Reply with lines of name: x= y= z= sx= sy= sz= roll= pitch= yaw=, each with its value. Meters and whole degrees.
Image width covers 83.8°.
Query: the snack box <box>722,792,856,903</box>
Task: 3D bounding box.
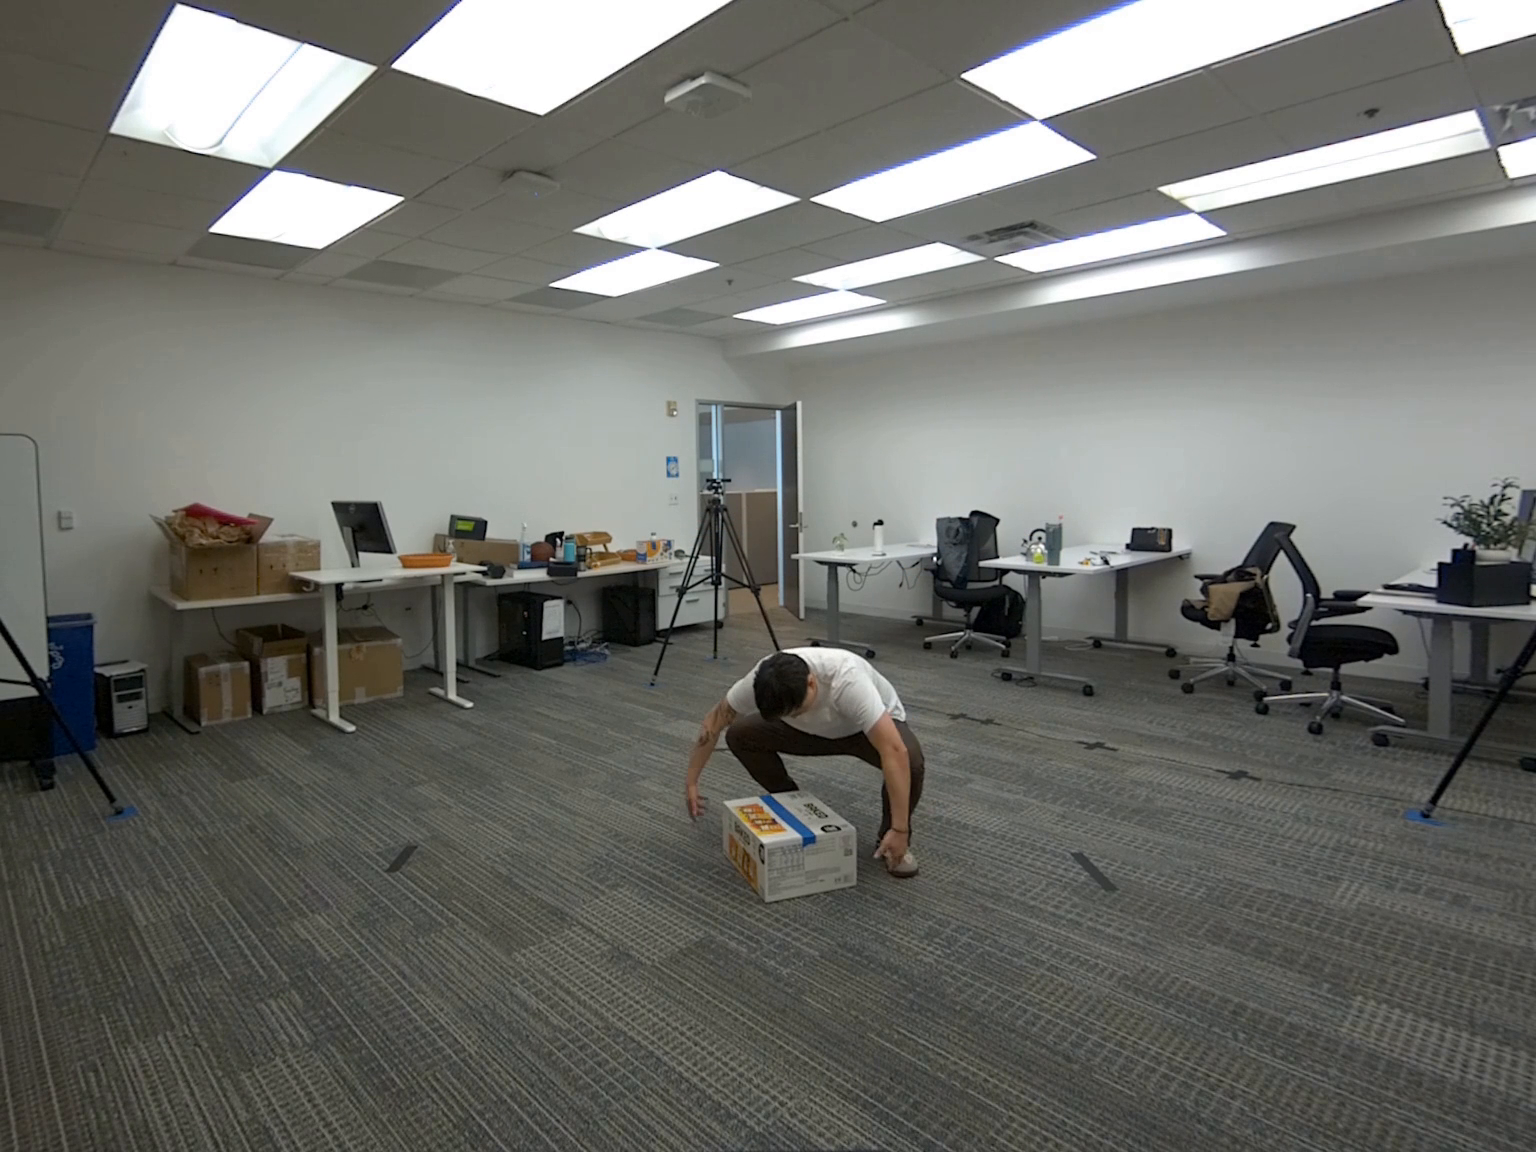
snack box: x=0.069 y=0.952 z=3.041 sx=0.334 sy=0.205 sz=0.414 roll=-3 pitch=6 yaw=-21
